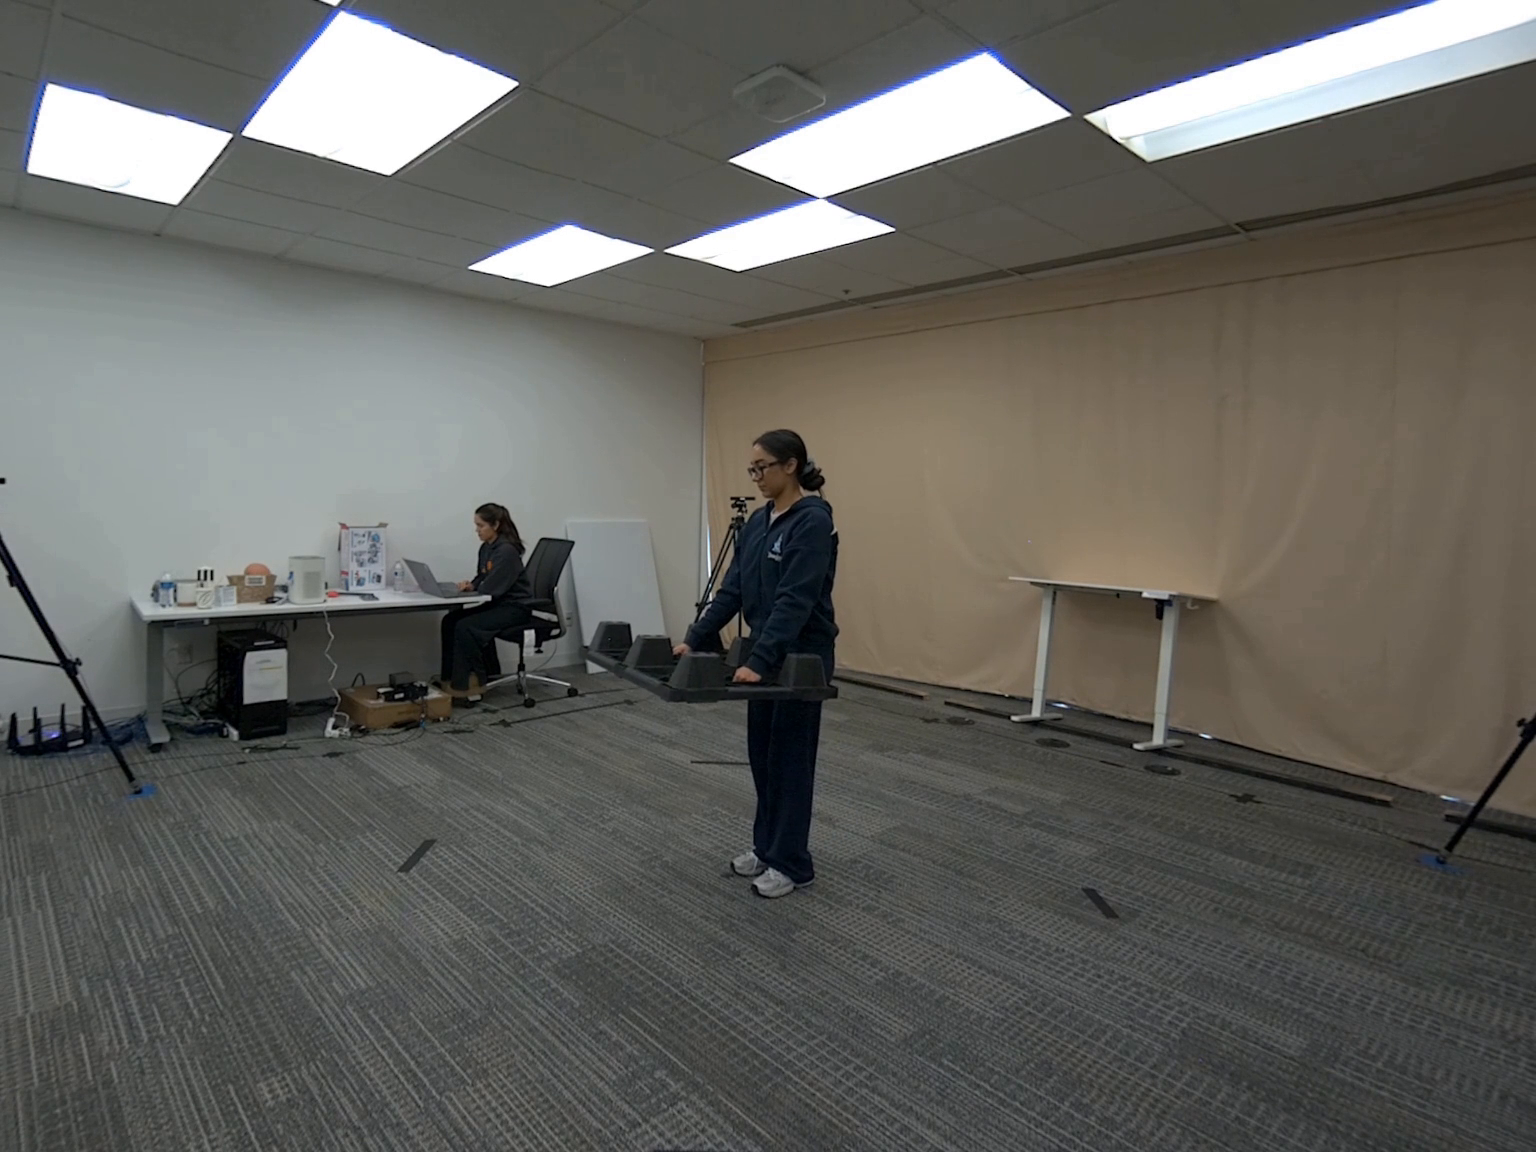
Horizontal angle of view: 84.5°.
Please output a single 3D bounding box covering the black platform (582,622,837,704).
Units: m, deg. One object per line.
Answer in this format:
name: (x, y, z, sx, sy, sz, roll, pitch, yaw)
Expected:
black platform: (-0.233, 0.279, 2.874, 0.592, 0.143, 0.824, 3, 4, -31)
